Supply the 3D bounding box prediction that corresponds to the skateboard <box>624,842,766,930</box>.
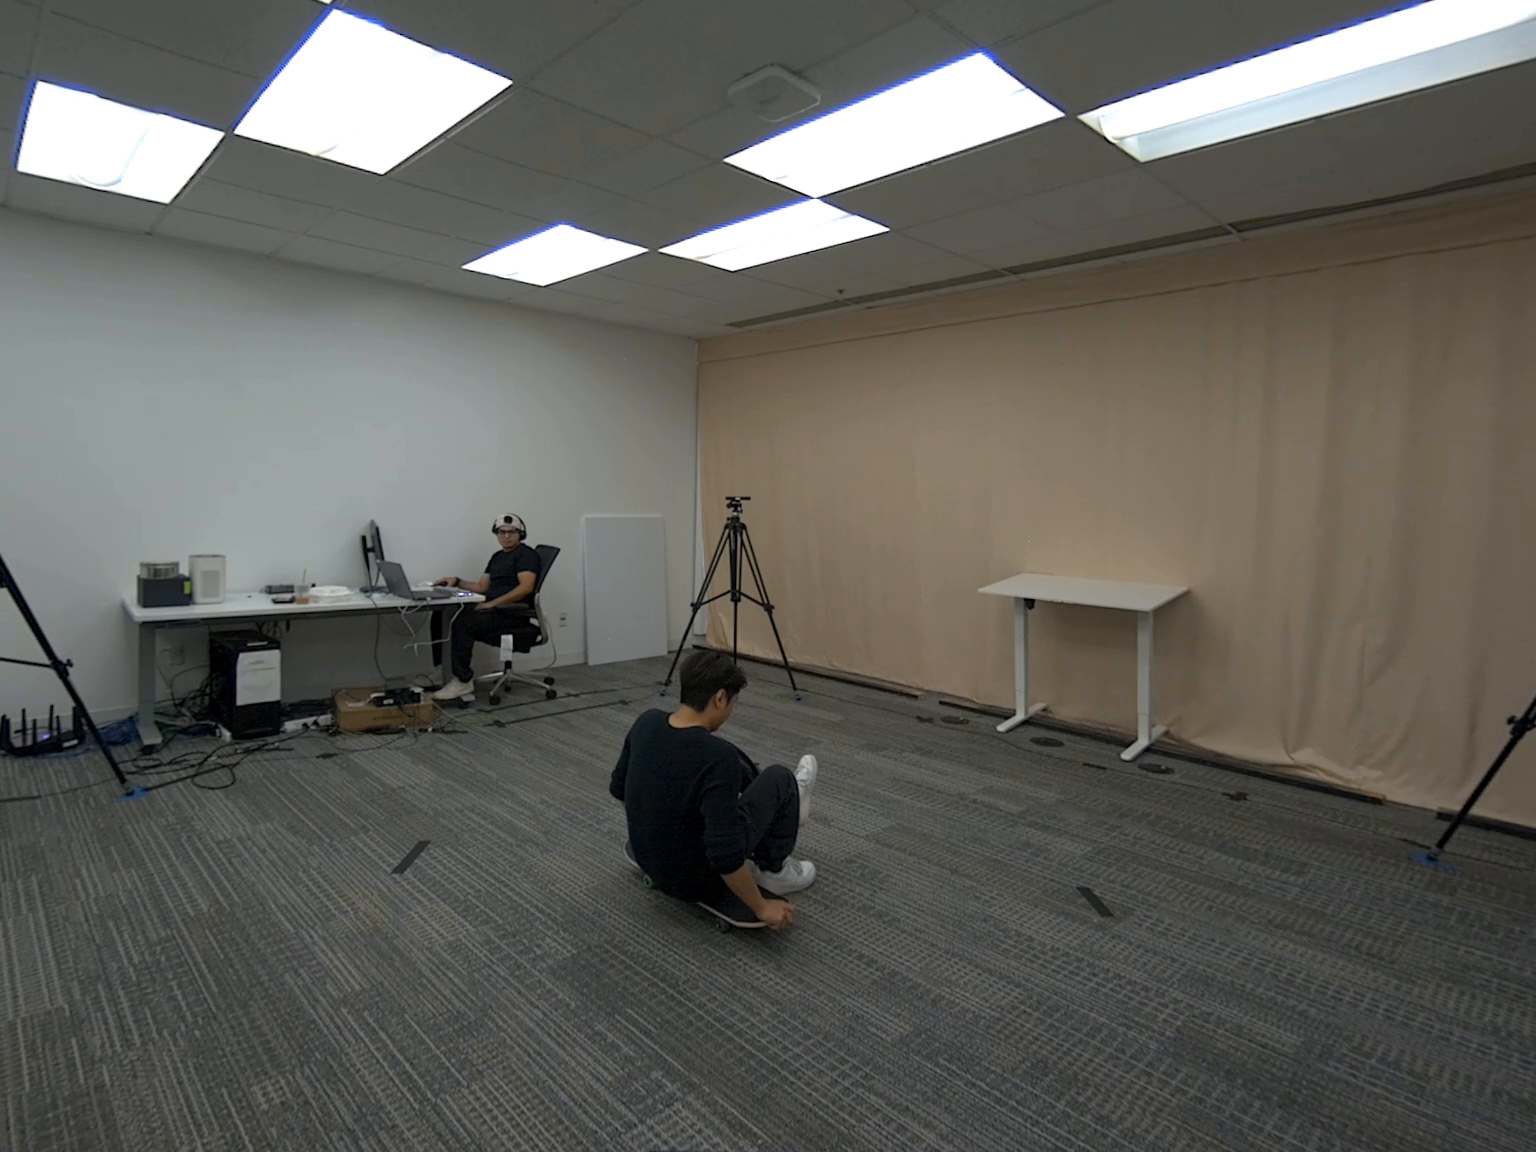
[{"bbox_3d":[-0.239,1.079,2.900,0.190,0.109,0.806,-12,12,-40],"label":"skateboard"}]
